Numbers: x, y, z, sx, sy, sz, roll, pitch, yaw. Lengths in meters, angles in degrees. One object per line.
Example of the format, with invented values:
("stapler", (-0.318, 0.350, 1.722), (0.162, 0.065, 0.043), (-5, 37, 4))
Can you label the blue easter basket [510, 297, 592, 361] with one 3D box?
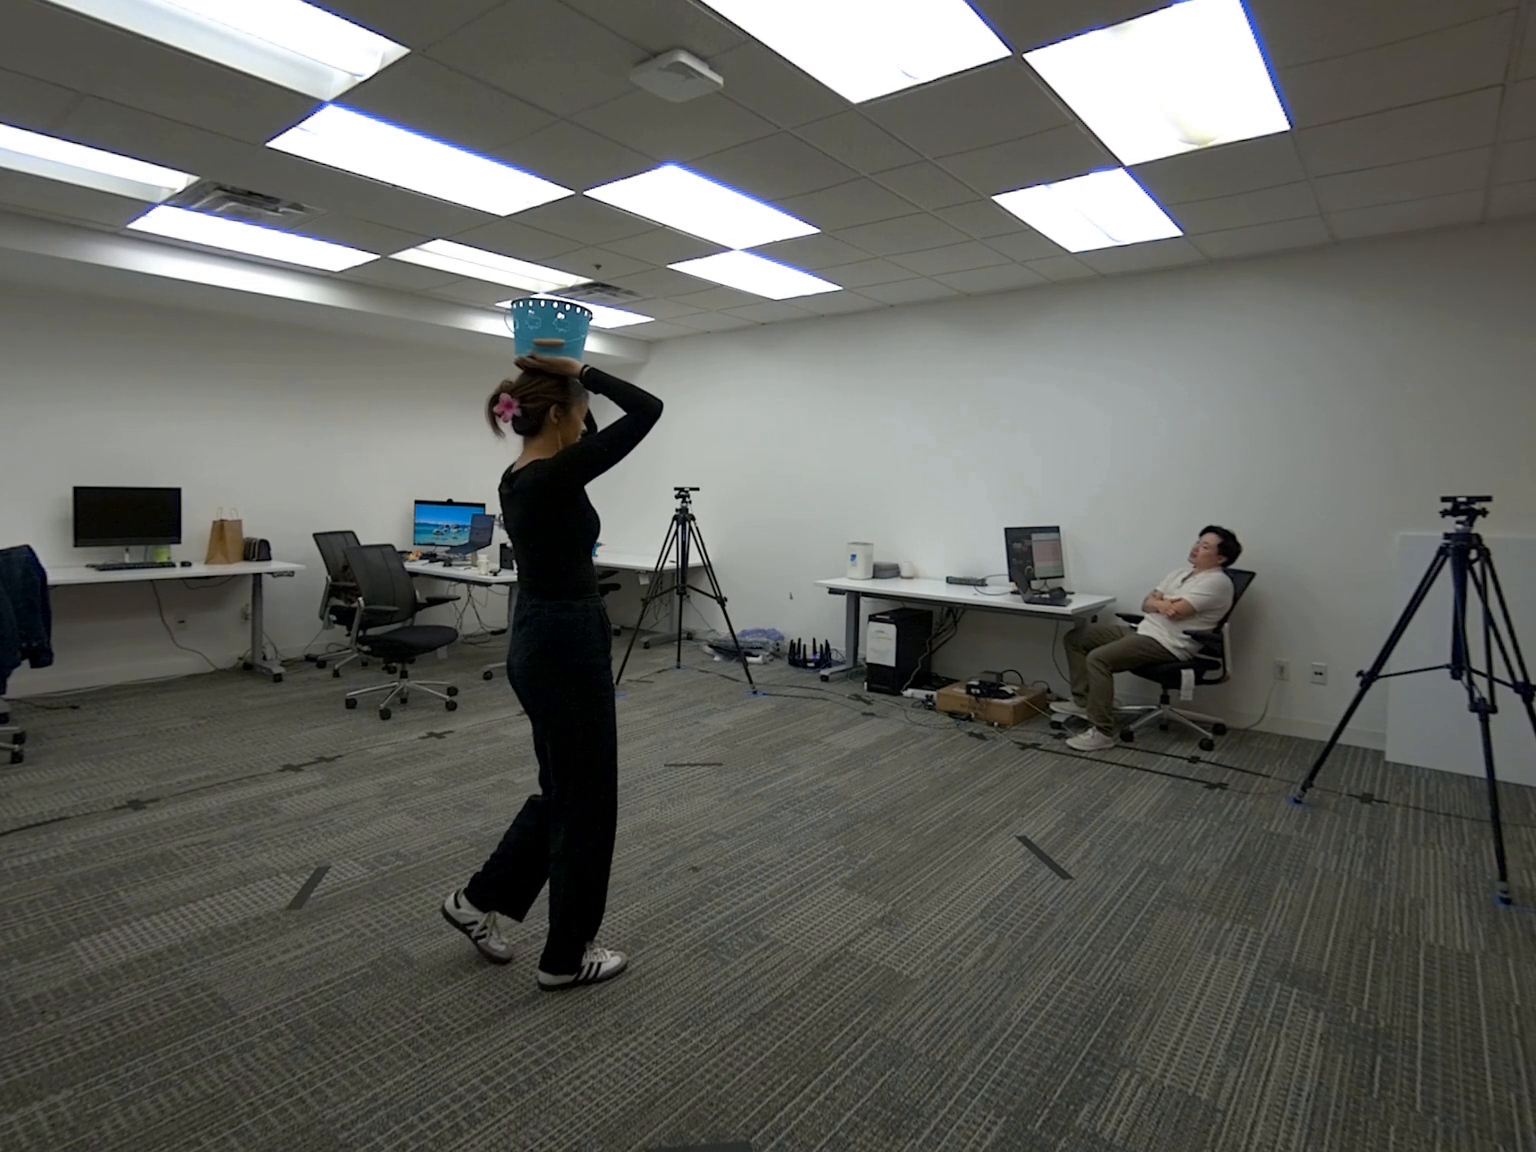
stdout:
("blue easter basket", (-0.620, -0.666, 2.347), (0.243, 0.155, 0.244), (3, 4, -2))
